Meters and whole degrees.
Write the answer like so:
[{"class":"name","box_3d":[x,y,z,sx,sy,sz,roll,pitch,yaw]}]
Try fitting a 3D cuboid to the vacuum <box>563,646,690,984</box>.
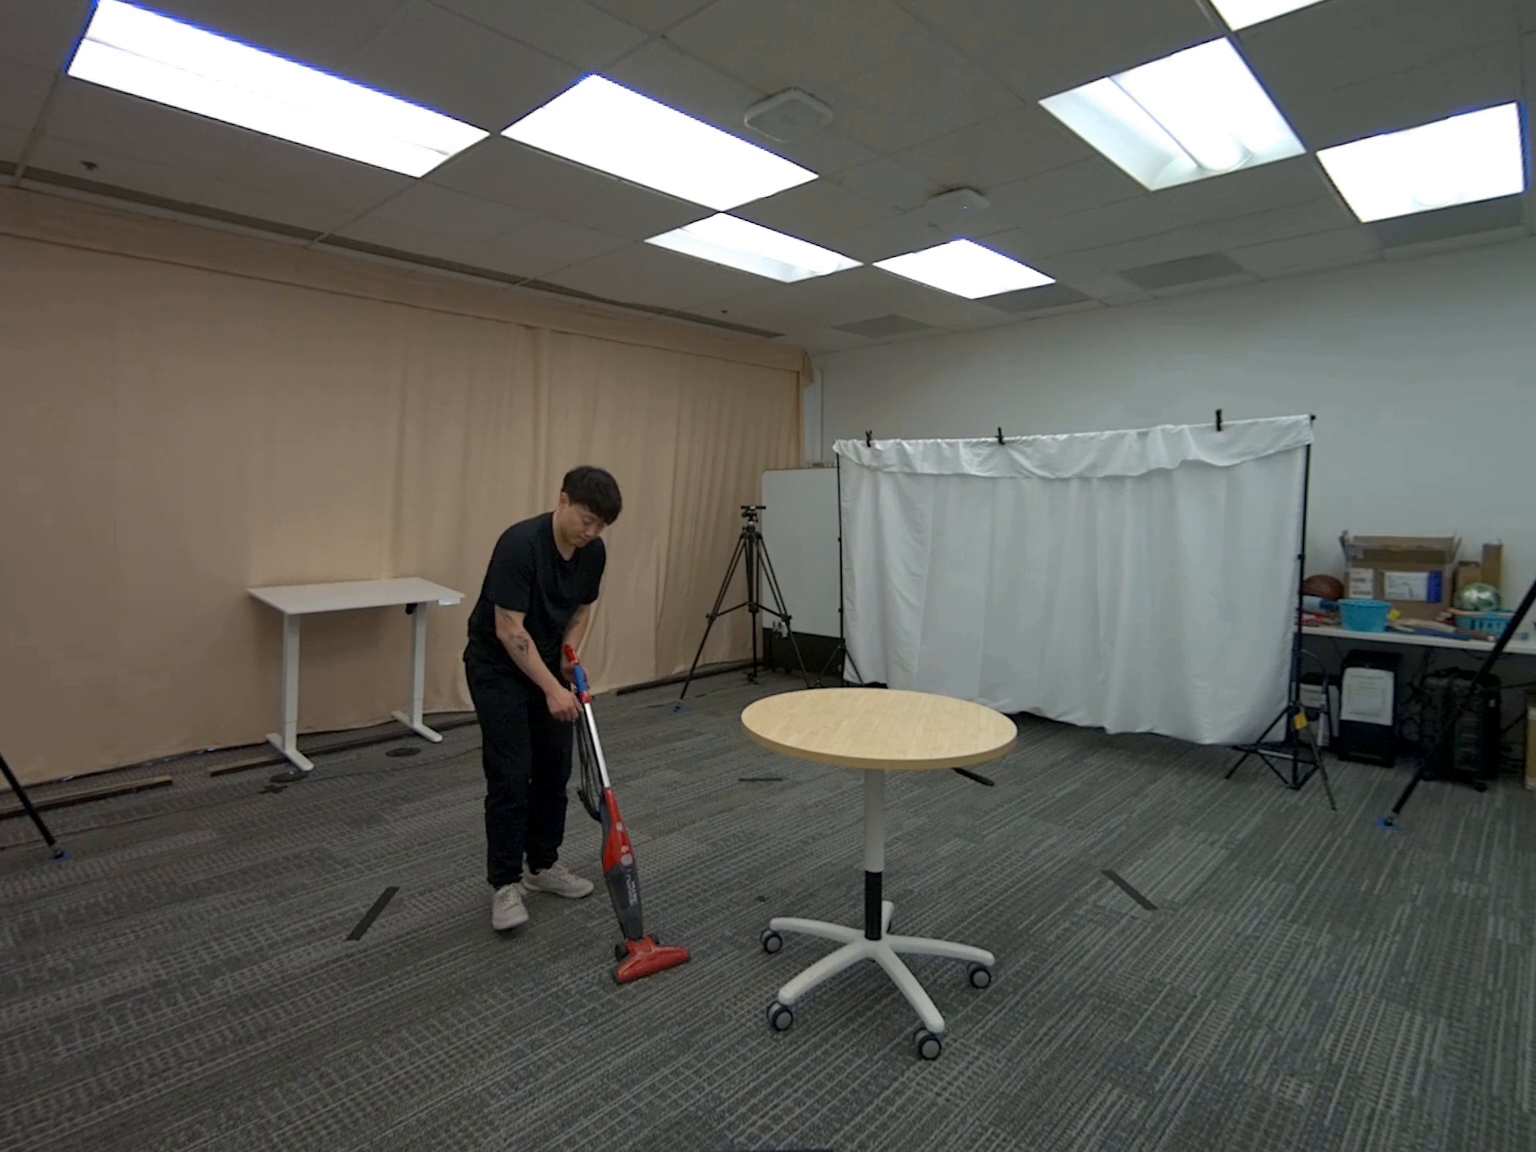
[{"class":"vacuum","box_3d":[-0.536,0.726,2.783,0.244,1.073,0.146,6,-36,-42]}]
